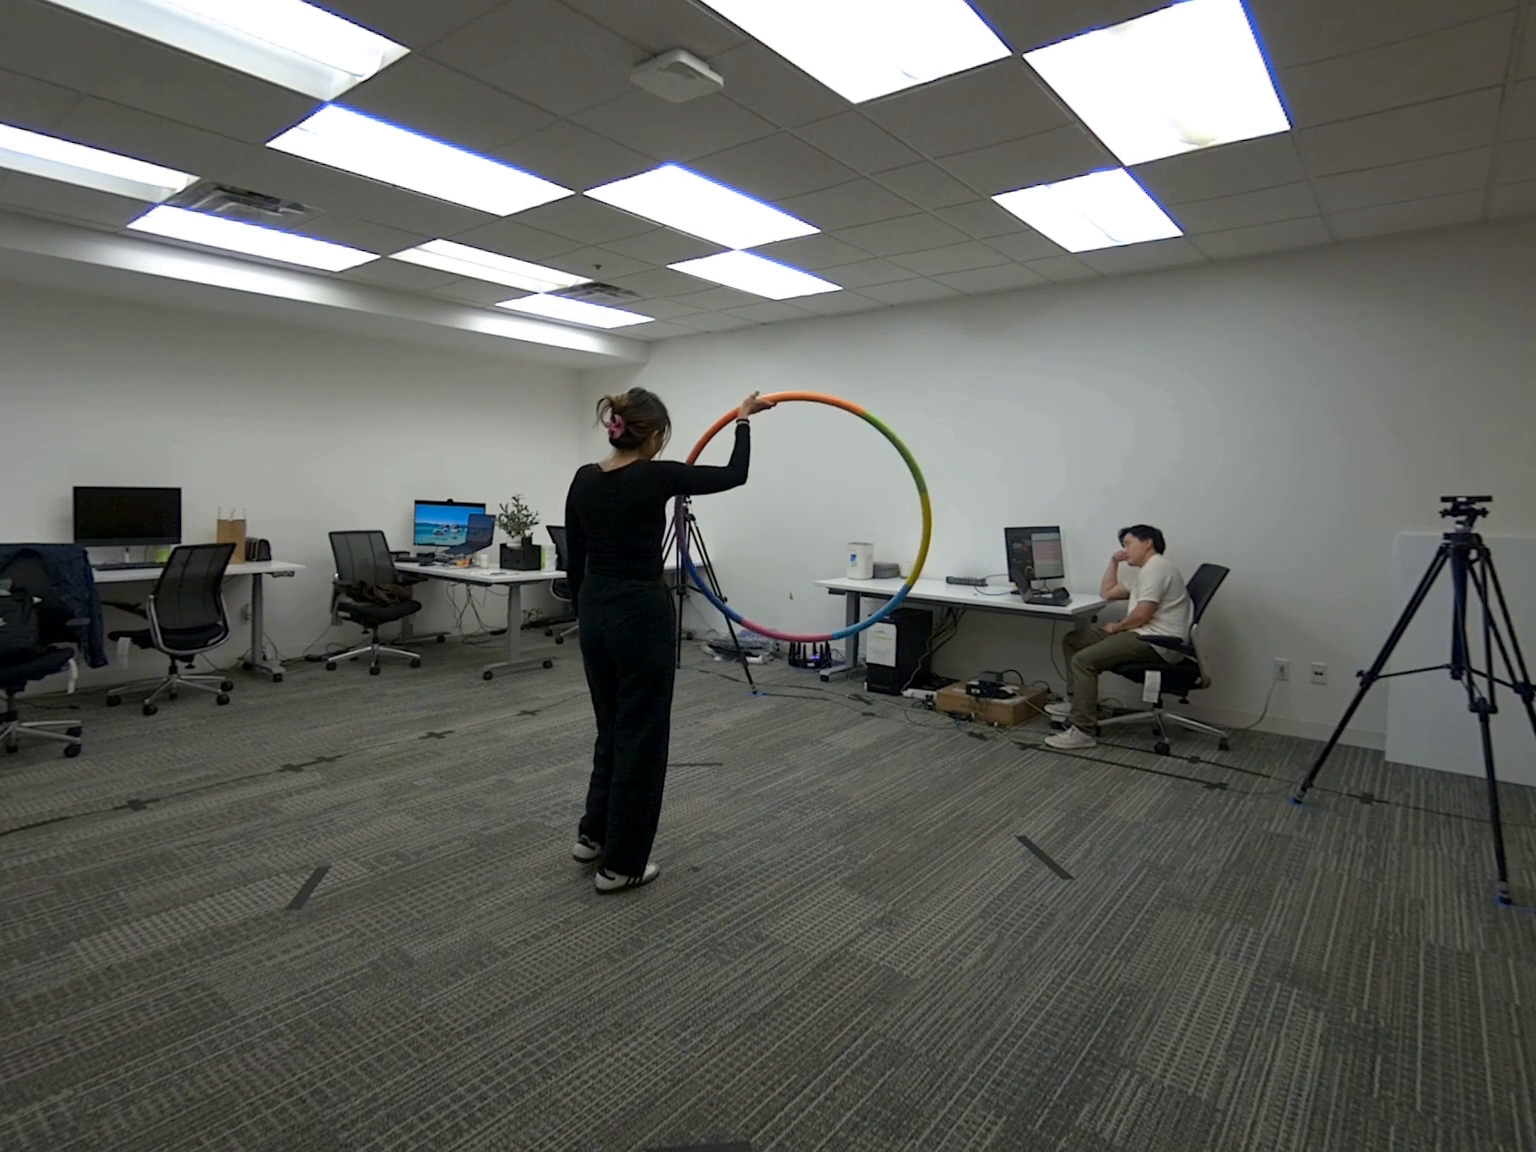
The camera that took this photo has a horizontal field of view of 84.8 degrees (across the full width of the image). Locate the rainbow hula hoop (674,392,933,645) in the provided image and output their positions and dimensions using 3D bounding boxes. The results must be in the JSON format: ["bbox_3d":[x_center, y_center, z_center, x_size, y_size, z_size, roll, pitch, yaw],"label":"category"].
[{"bbox_3d":[0.096,-0.211,3.233,0.997,0.970,0.052,2,16,10],"label":"rainbow hula hoop"}]
